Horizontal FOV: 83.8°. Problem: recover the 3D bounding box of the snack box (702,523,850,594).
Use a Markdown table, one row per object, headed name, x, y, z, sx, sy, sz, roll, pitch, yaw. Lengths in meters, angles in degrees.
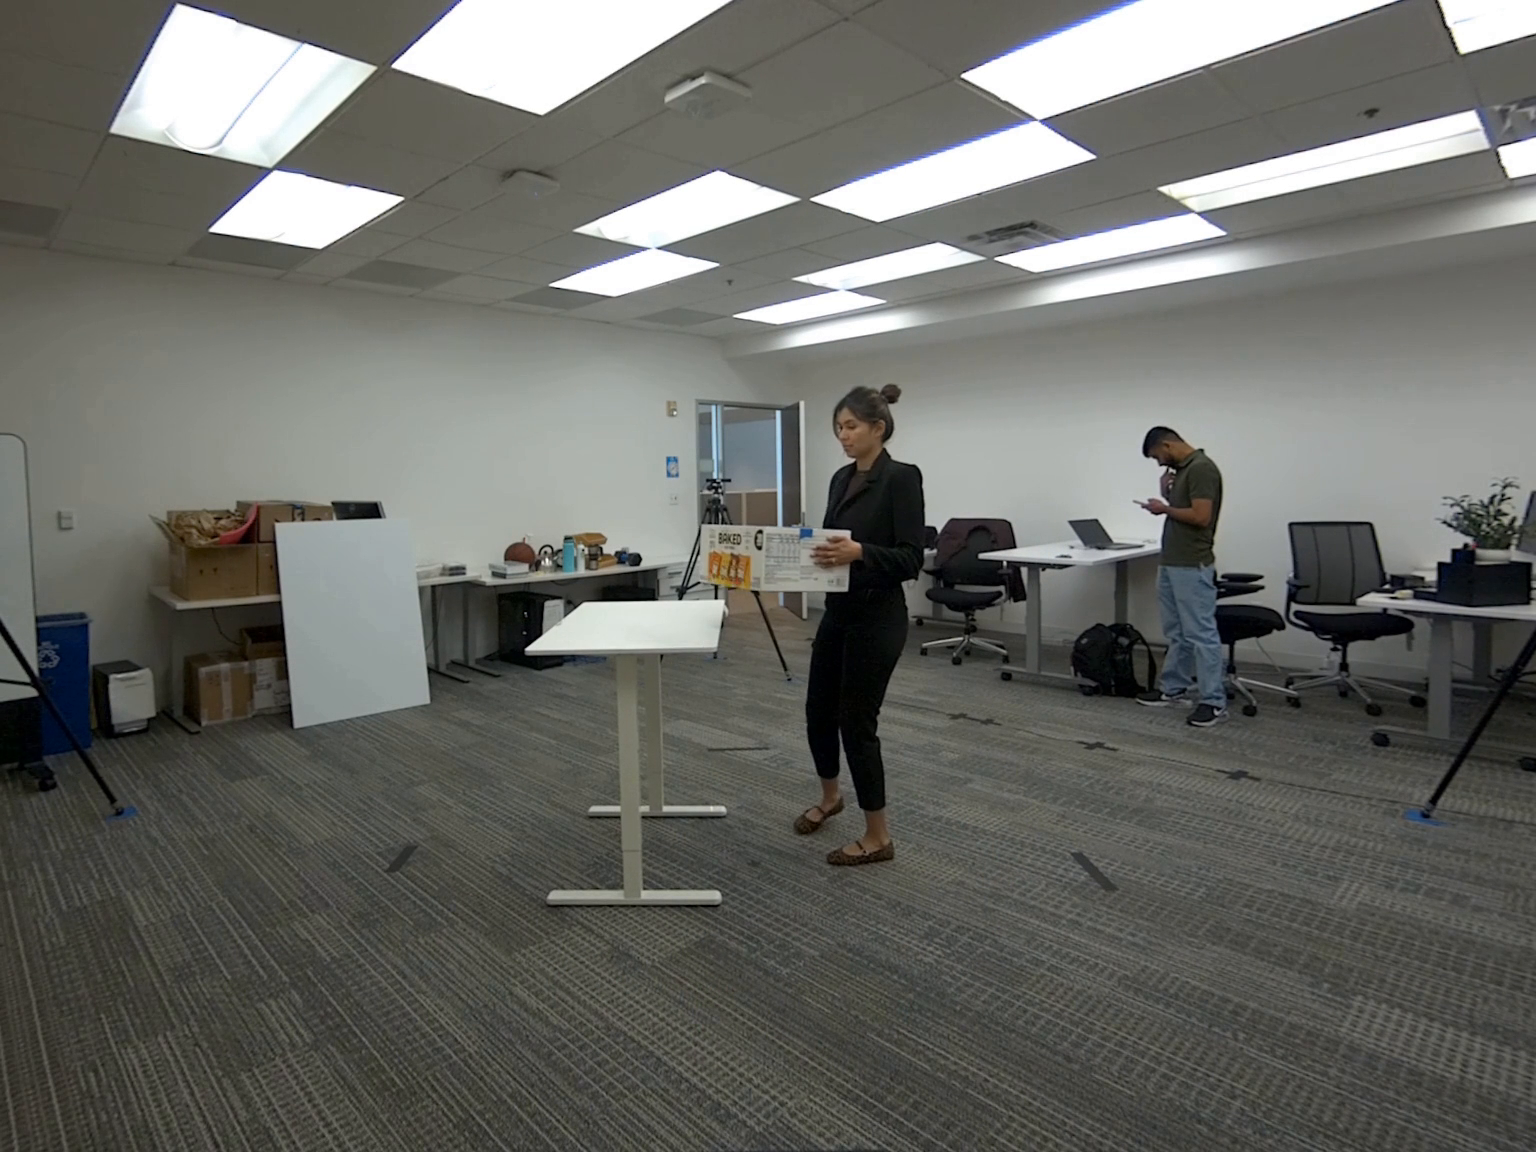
| name | x | y | z | sx | sy | sz | roll | pitch | yaw |
| --- | --- | --- | --- | --- | --- | --- | --- | --- | --- |
| snack box | 0.027 | -0.065 | 2.884 | 0.331 | 0.205 | 0.416 | 1 | 3 | -32 |
